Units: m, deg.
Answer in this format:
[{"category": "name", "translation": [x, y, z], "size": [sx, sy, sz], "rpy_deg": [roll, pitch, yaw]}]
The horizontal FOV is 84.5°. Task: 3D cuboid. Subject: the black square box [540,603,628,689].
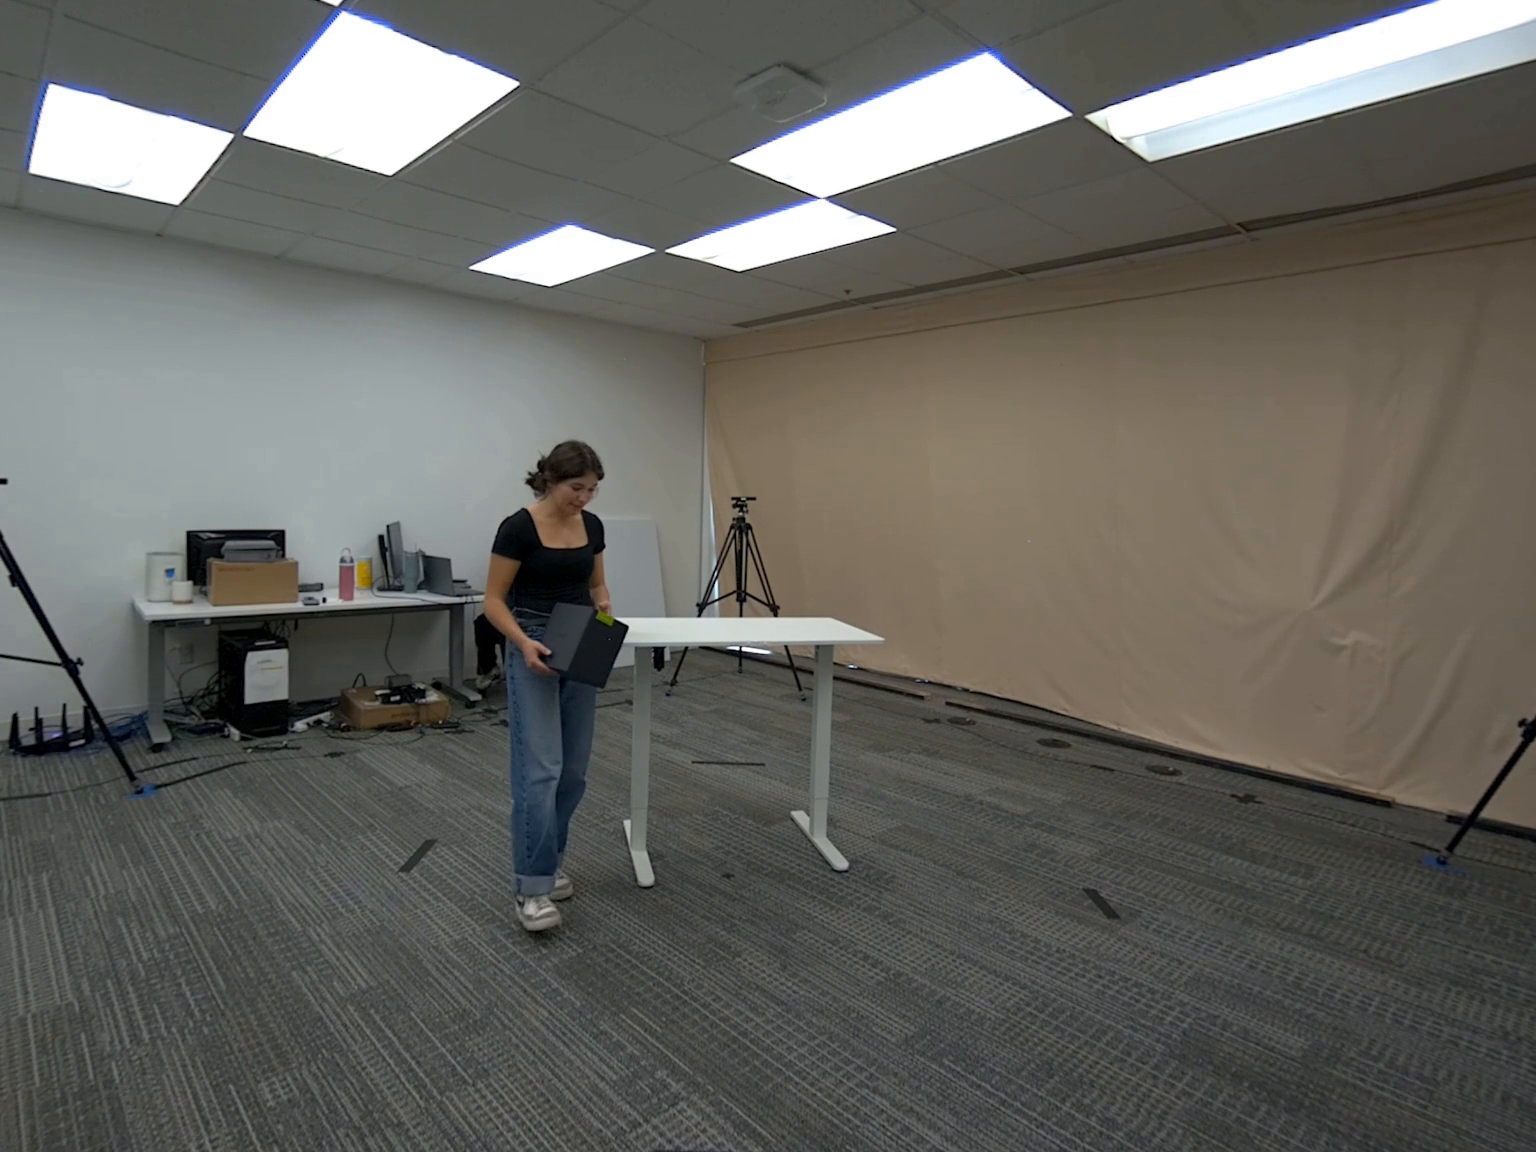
[{"category": "black square box", "translation": [-0.618, 0.220, 2.691], "size": [0.233, 0.218, 0.151], "rpy_deg": [3, -24, 47]}]
